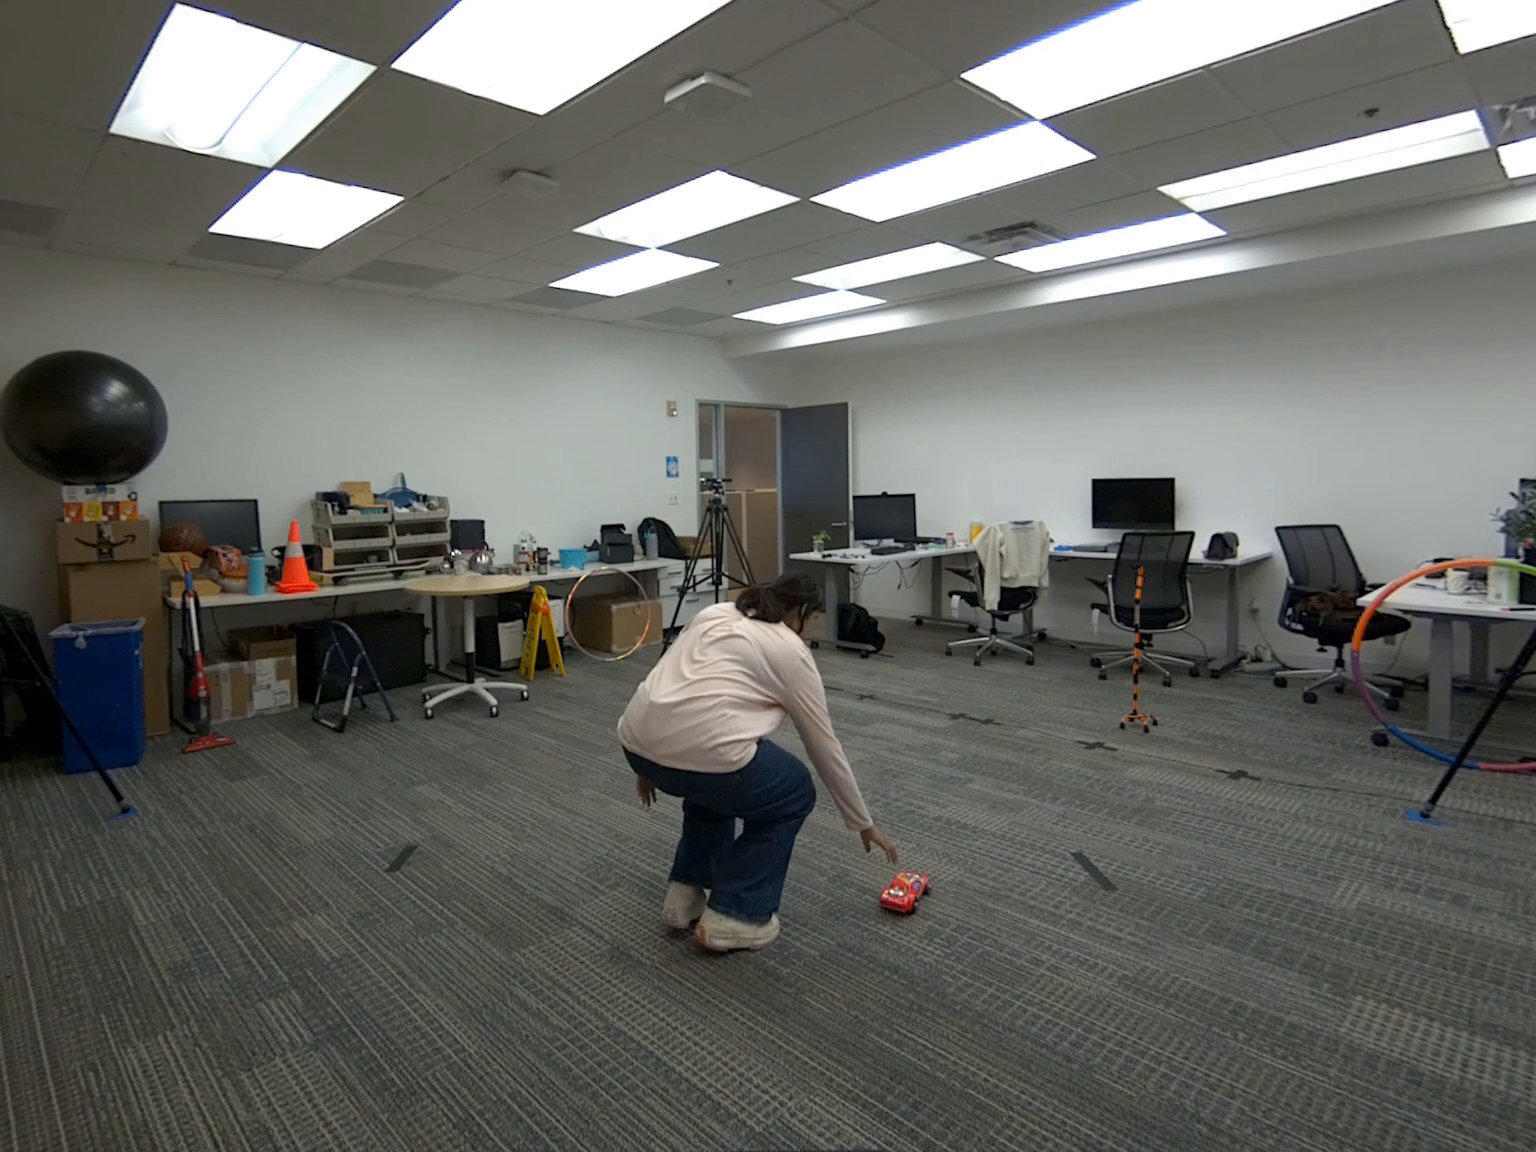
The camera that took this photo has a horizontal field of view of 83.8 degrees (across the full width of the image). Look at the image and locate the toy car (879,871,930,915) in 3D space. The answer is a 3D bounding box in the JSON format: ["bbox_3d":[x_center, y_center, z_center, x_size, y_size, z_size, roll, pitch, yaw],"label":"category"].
[{"bbox_3d":[0.451,1.037,2.800,0.134,0.083,0.247,4,-3,28],"label":"toy car"}]
